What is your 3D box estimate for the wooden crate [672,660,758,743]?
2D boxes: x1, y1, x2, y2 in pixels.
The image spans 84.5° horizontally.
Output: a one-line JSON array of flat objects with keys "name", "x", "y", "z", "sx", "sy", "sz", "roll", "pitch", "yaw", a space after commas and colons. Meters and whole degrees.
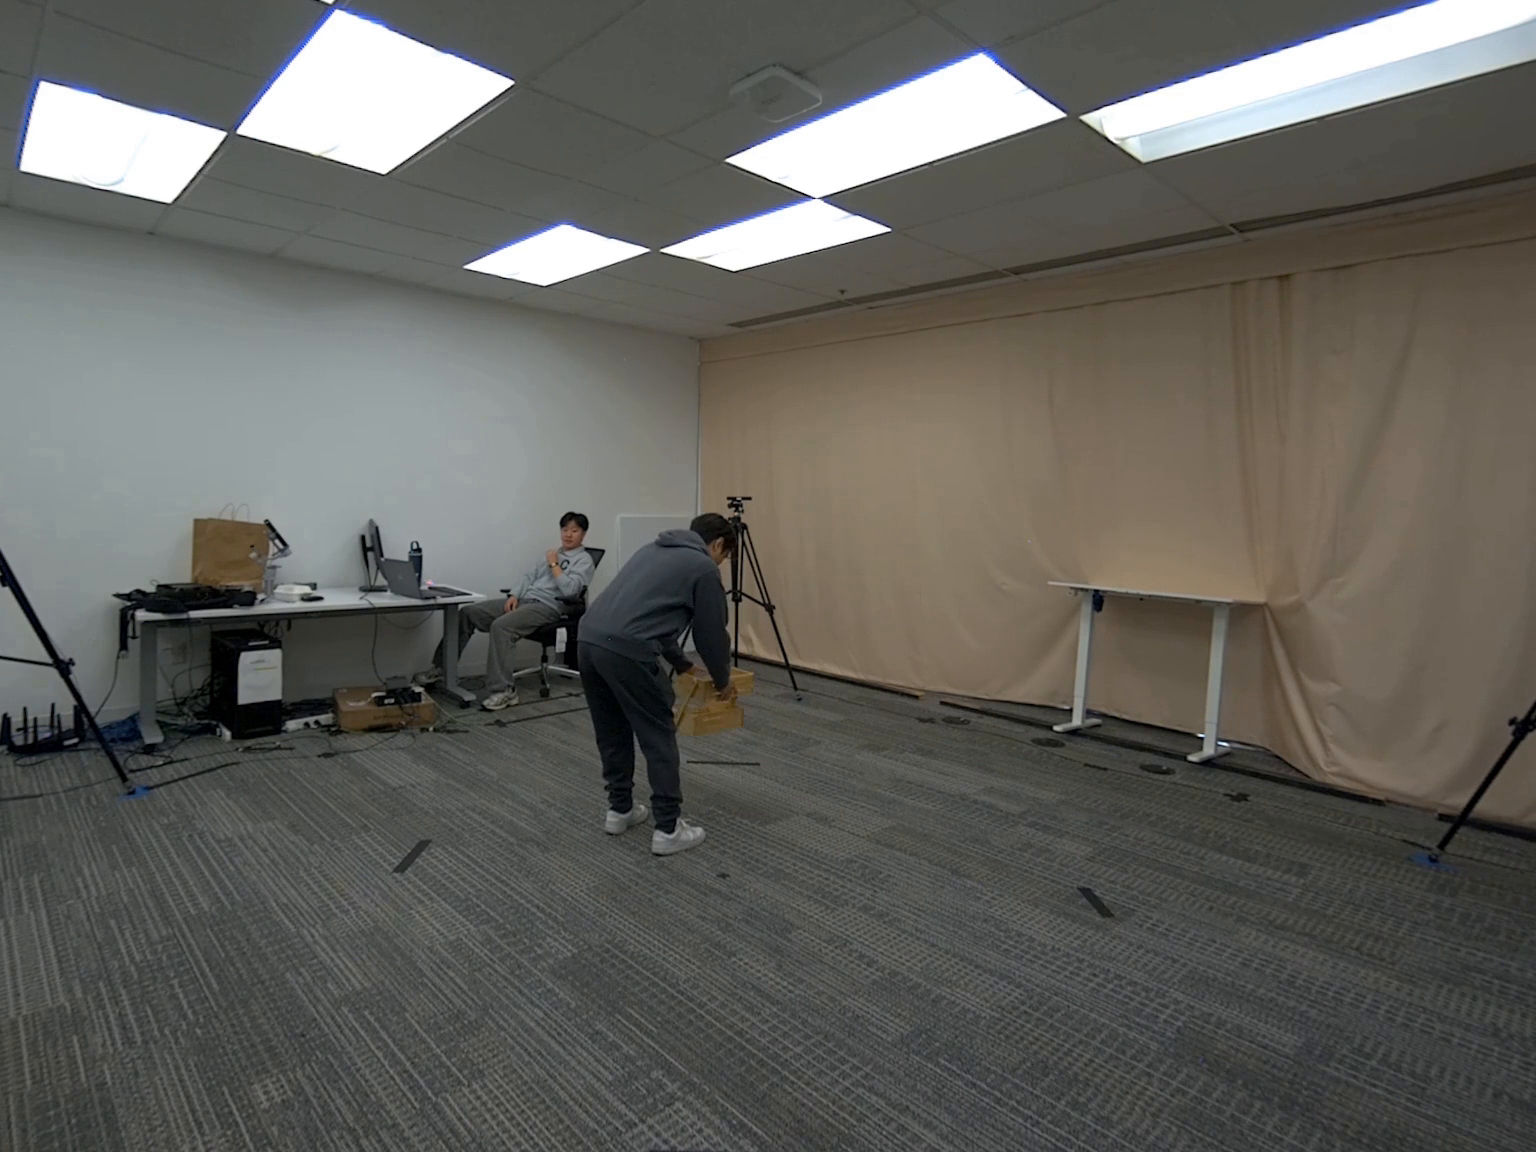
[{"name": "wooden crate", "x": -0.279, "y": 0.551, "z": 3.826, "sx": 0.317, "sy": 0.272, "sz": 0.310, "roll": -1, "pitch": 7, "yaw": -45}]
